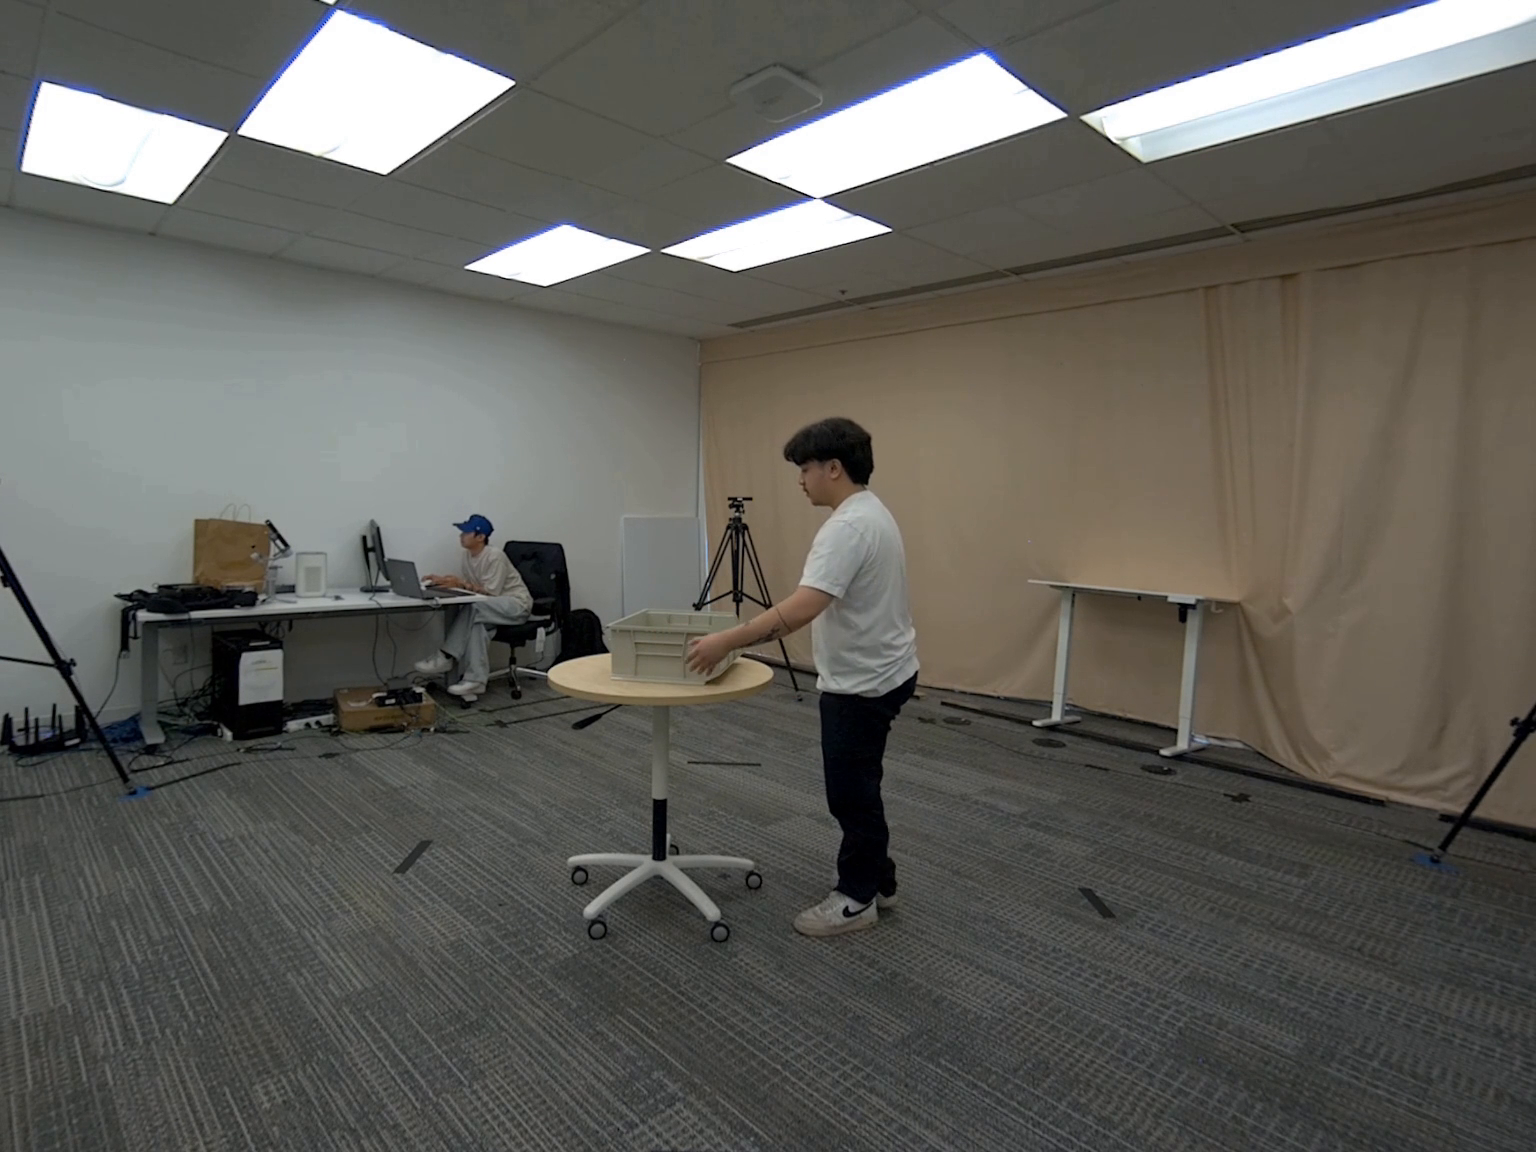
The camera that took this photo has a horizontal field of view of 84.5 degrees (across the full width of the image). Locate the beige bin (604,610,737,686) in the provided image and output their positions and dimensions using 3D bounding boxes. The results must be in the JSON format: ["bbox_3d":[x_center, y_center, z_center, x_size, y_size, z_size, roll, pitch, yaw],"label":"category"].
[{"bbox_3d":[-0.302,0.239,2.885,0.380,0.188,0.420,0,5,9],"label":"beige bin"}]
